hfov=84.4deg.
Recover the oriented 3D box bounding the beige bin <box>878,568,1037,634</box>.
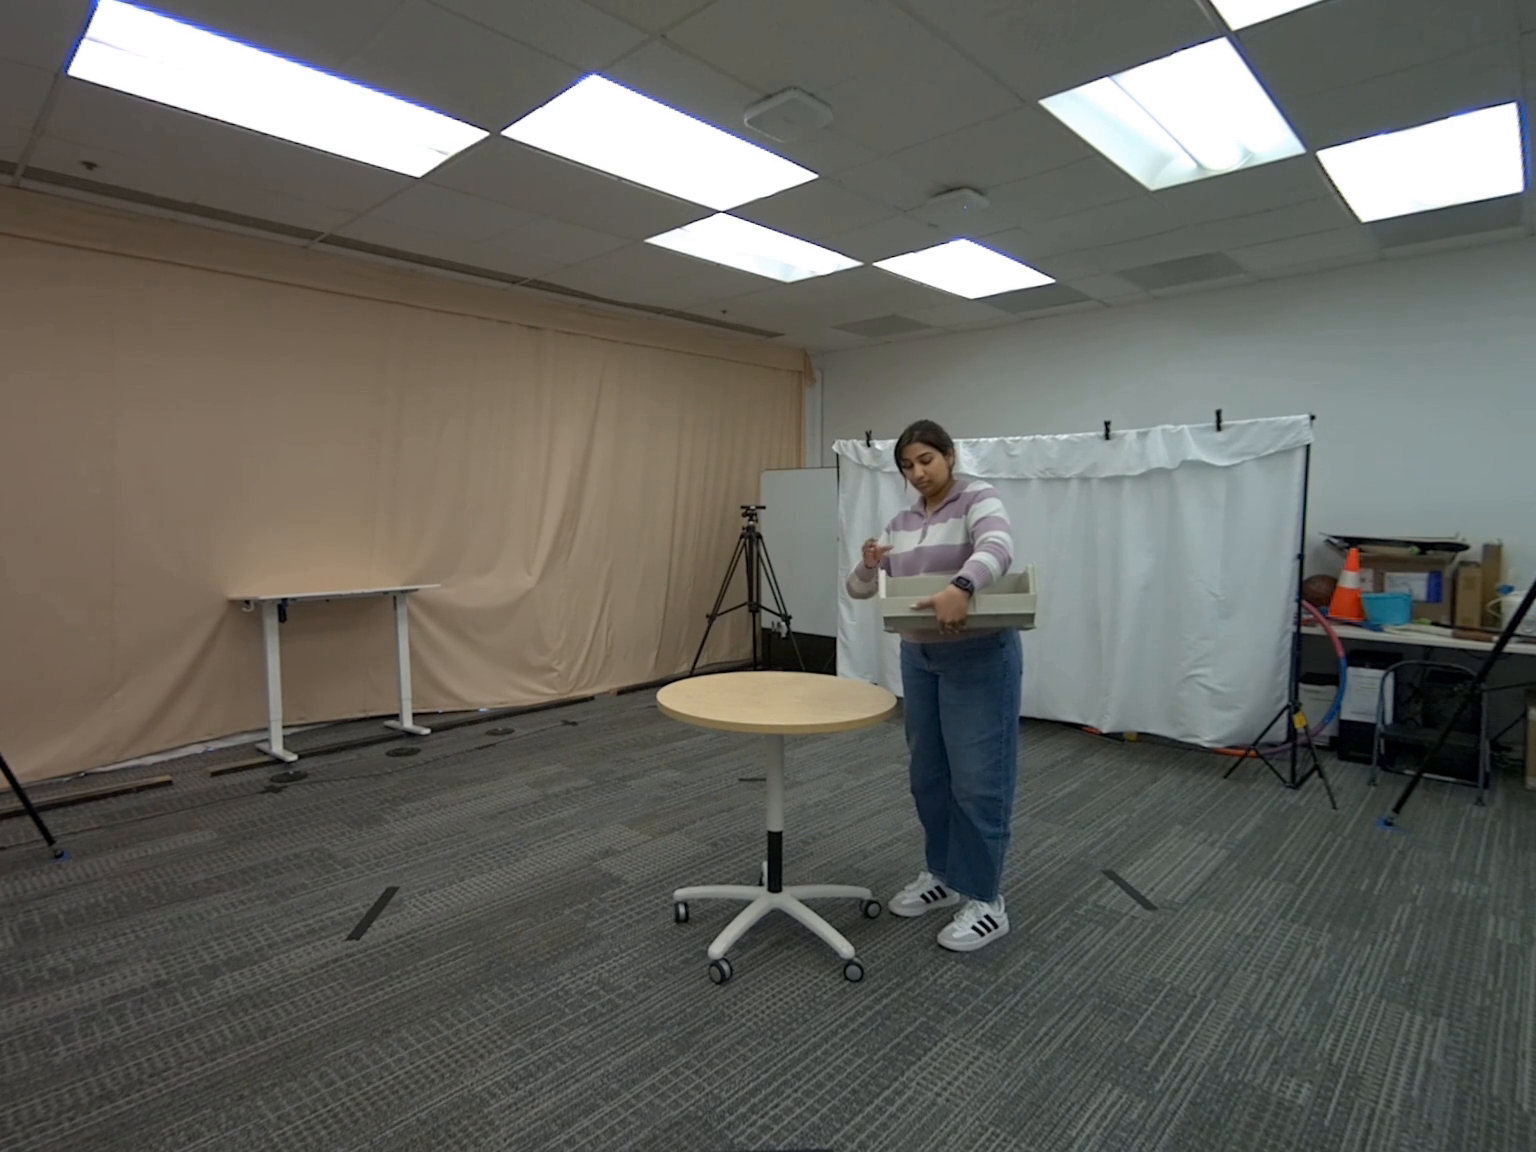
[{"bbox_3d":[0.562,0.078,2.478,0.429,0.190,0.370,-1,-7,14],"label":"beige bin"}]
